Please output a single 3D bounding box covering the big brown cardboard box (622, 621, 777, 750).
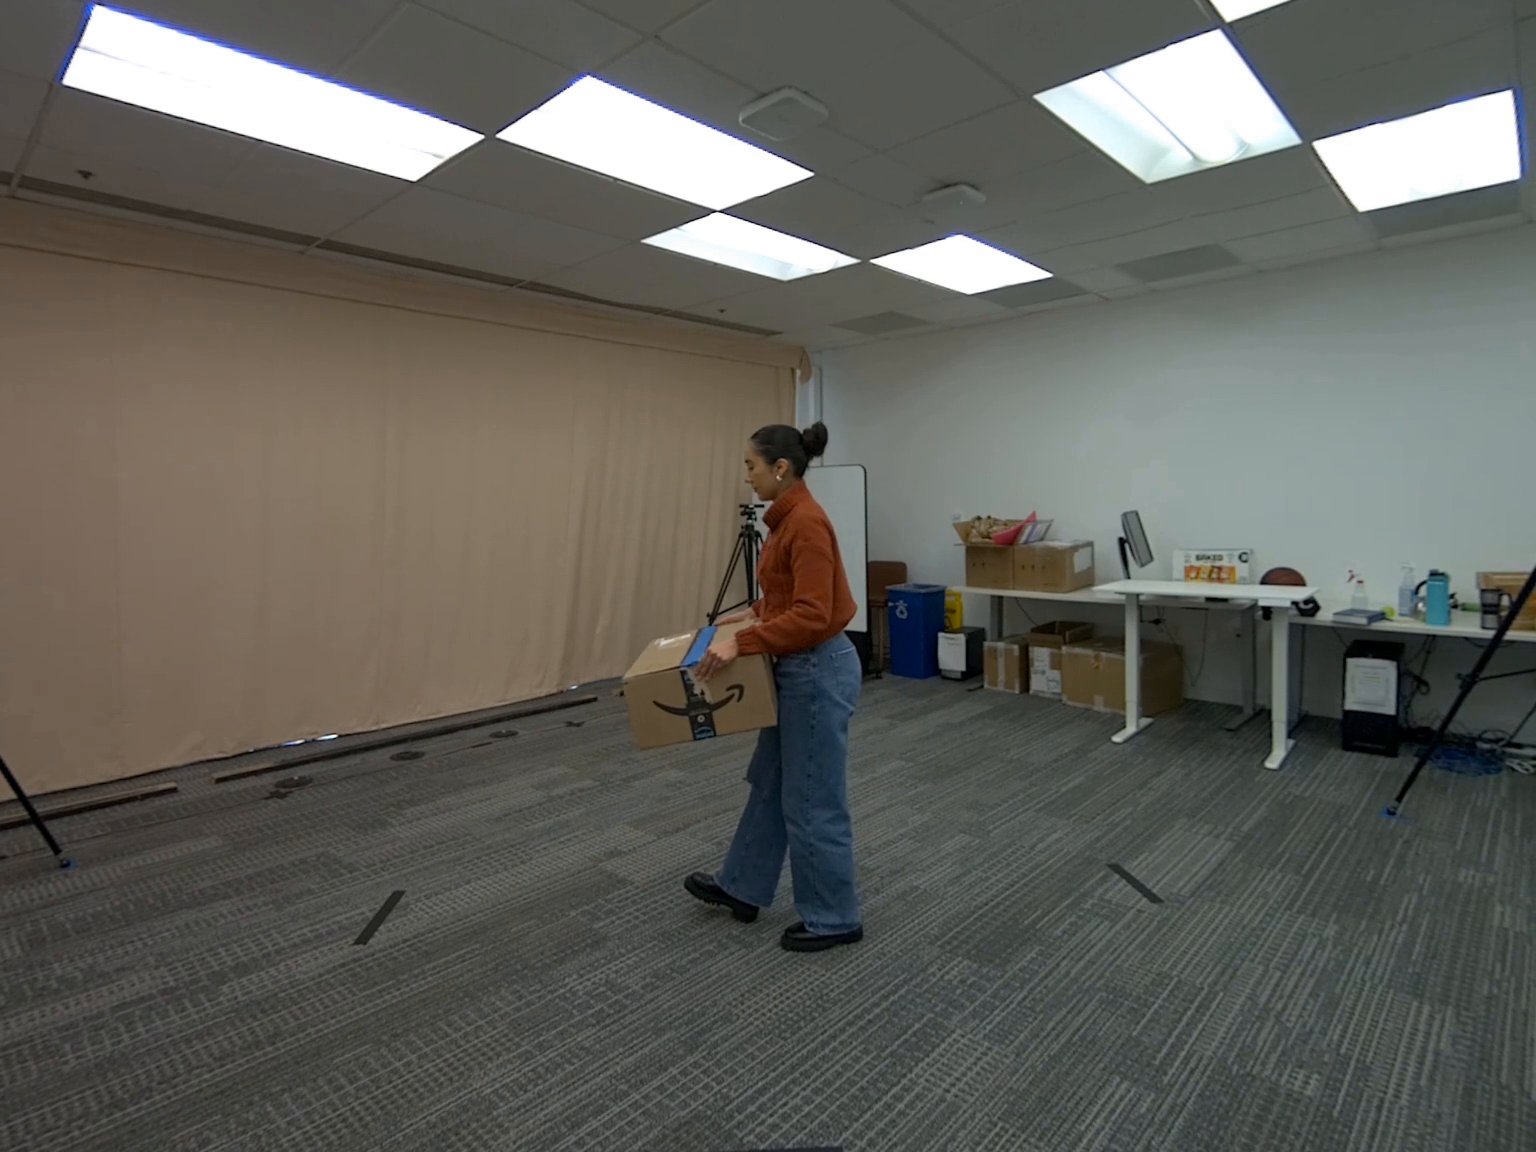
[{"bbox_3d":[-0.198,0.323,2.679,0.419,0.232,0.590,-12,7,2],"label":"big brown cardboard box"}]
